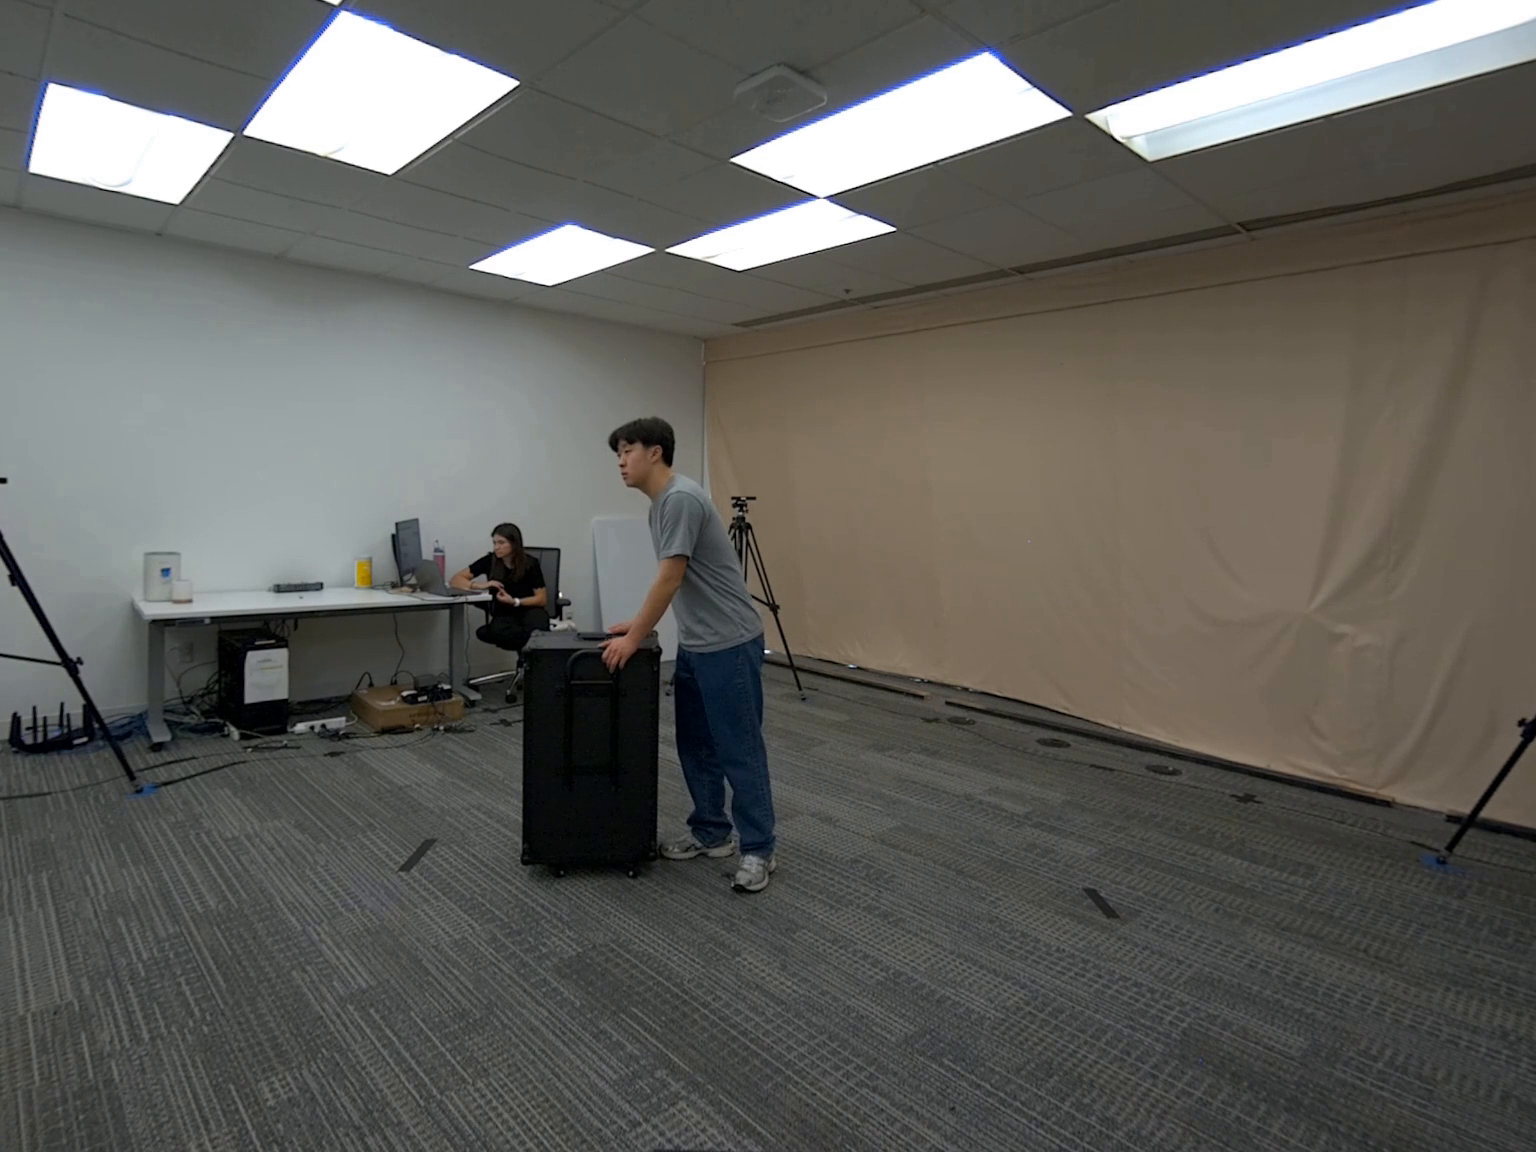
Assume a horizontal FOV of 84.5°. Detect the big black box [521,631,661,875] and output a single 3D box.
[{"bbox_3d":[-0.665,0.666,3.157,0.517,0.859,0.400,1,5,-9],"label":"big black box"}]
